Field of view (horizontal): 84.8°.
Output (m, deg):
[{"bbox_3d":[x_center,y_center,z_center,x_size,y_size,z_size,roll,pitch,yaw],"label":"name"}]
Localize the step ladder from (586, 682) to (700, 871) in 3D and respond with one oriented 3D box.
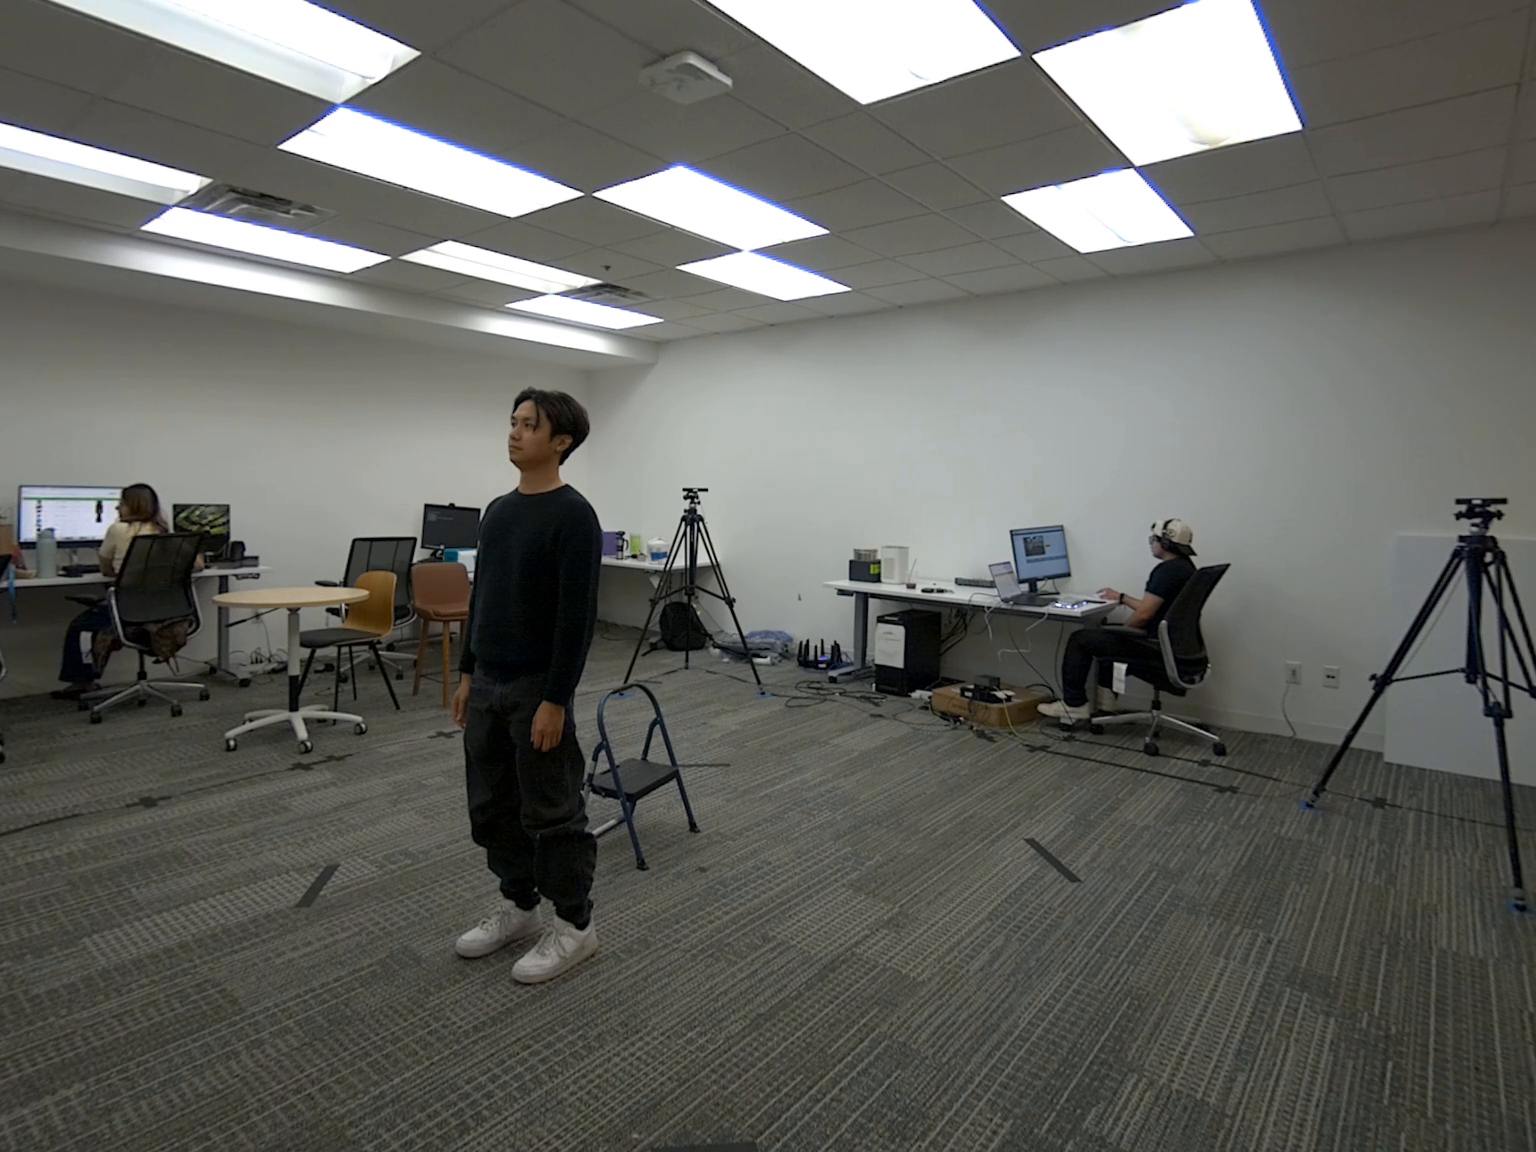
[{"bbox_3d":[-0.523,0.736,3.343,0.358,0.604,0.421,3,4,25],"label":"step ladder"}]
